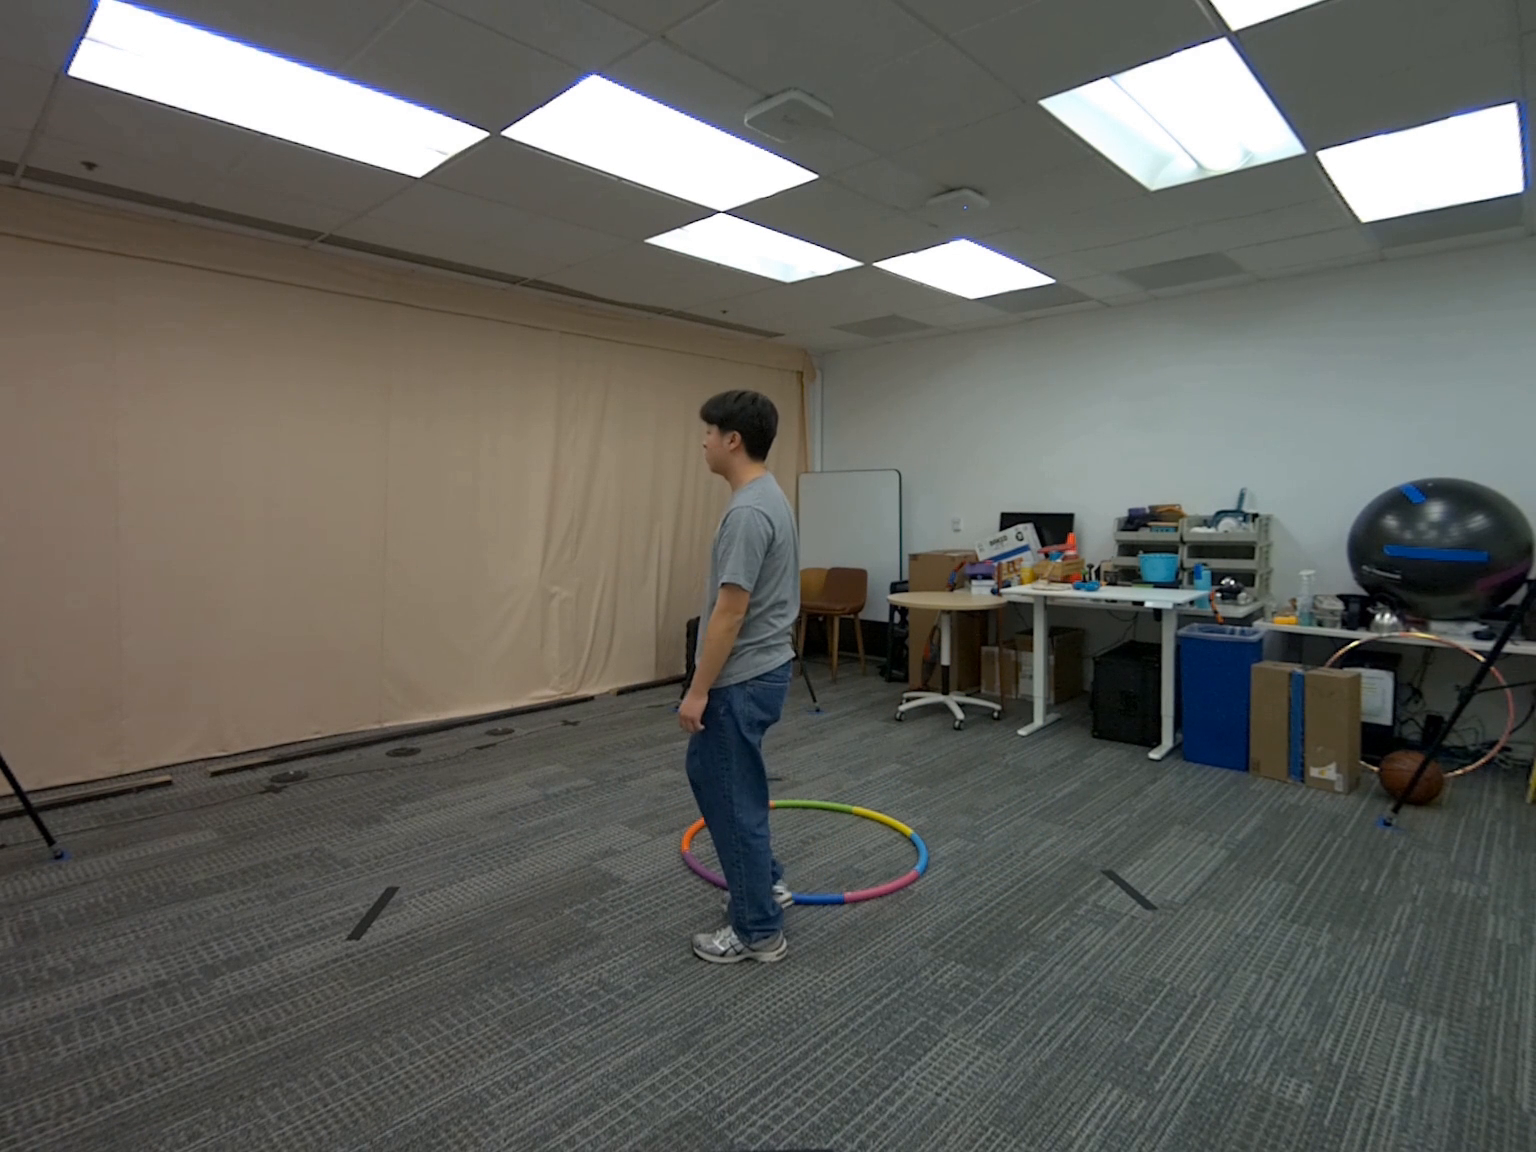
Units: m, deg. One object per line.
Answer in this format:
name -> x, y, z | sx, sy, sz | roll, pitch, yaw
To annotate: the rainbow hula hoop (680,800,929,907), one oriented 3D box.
rainbow hula hoop -> 0.143, 1.074, 3.411 | 0.978, 0.035, 0.982 | -1, 4, -2
